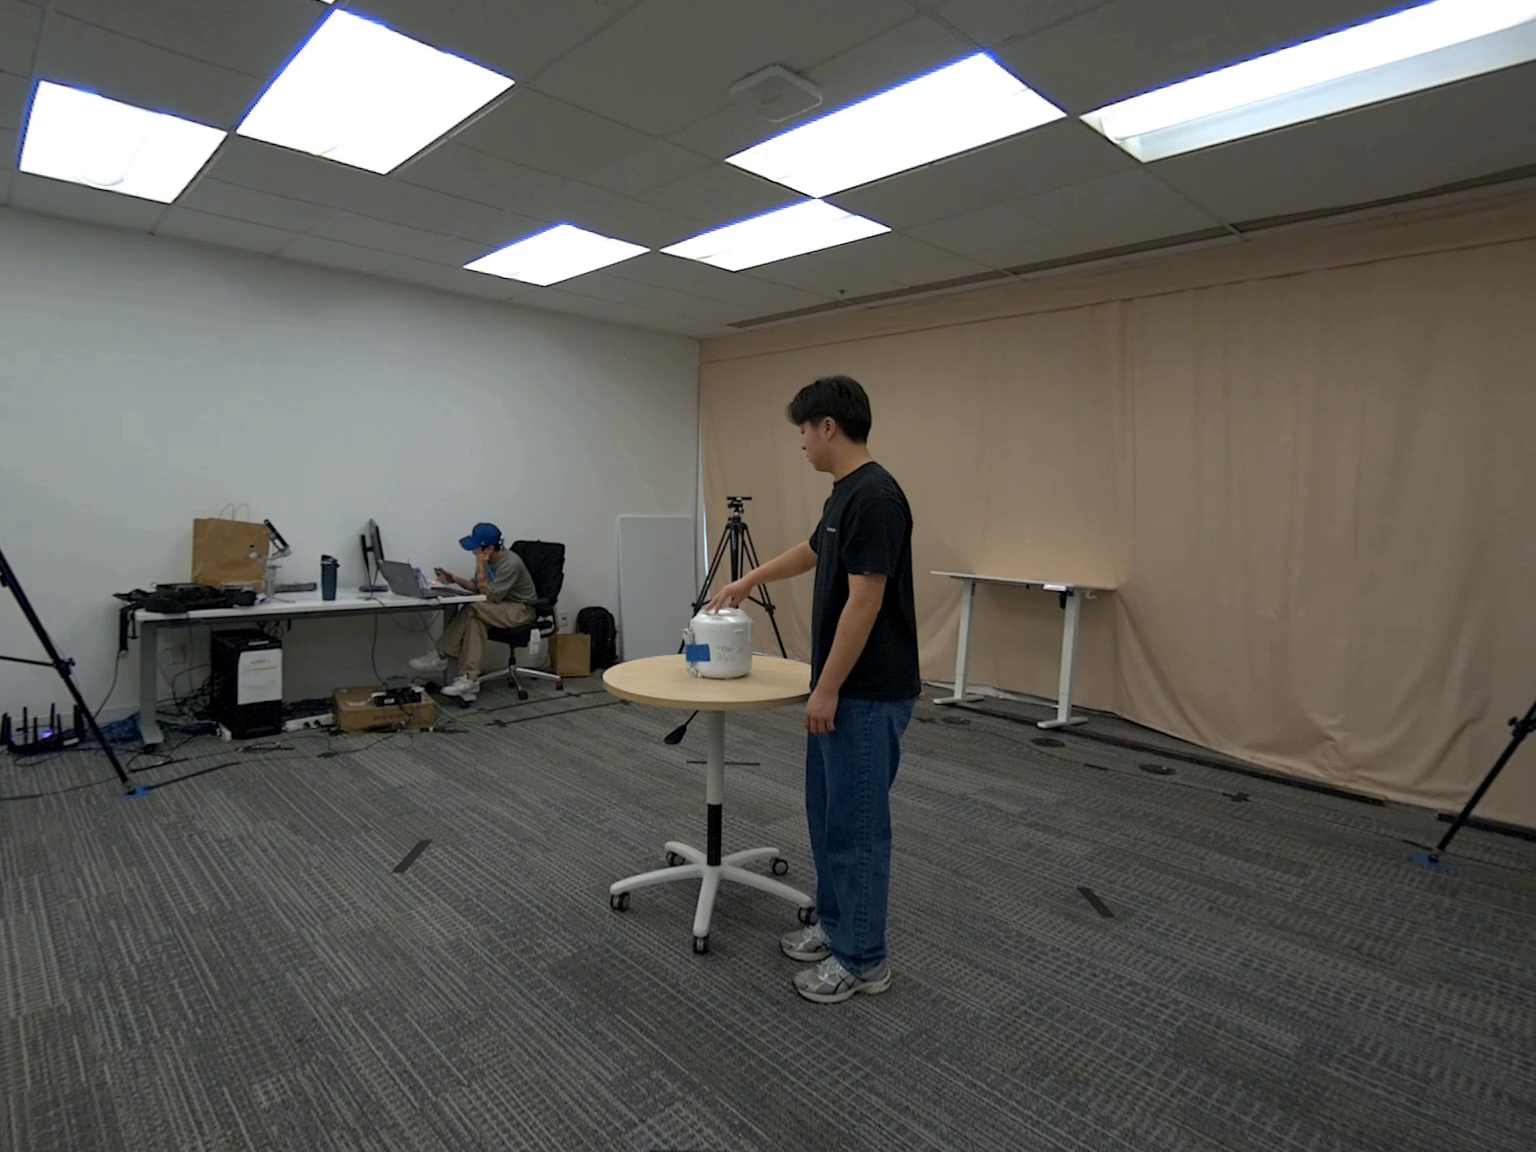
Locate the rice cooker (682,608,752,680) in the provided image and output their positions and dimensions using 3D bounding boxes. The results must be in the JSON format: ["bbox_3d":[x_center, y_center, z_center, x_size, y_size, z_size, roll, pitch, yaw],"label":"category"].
[{"bbox_3d":[-0.160,0.219,2.847,0.224,0.232,0.215,3,5,18],"label":"rice cooker"}]
